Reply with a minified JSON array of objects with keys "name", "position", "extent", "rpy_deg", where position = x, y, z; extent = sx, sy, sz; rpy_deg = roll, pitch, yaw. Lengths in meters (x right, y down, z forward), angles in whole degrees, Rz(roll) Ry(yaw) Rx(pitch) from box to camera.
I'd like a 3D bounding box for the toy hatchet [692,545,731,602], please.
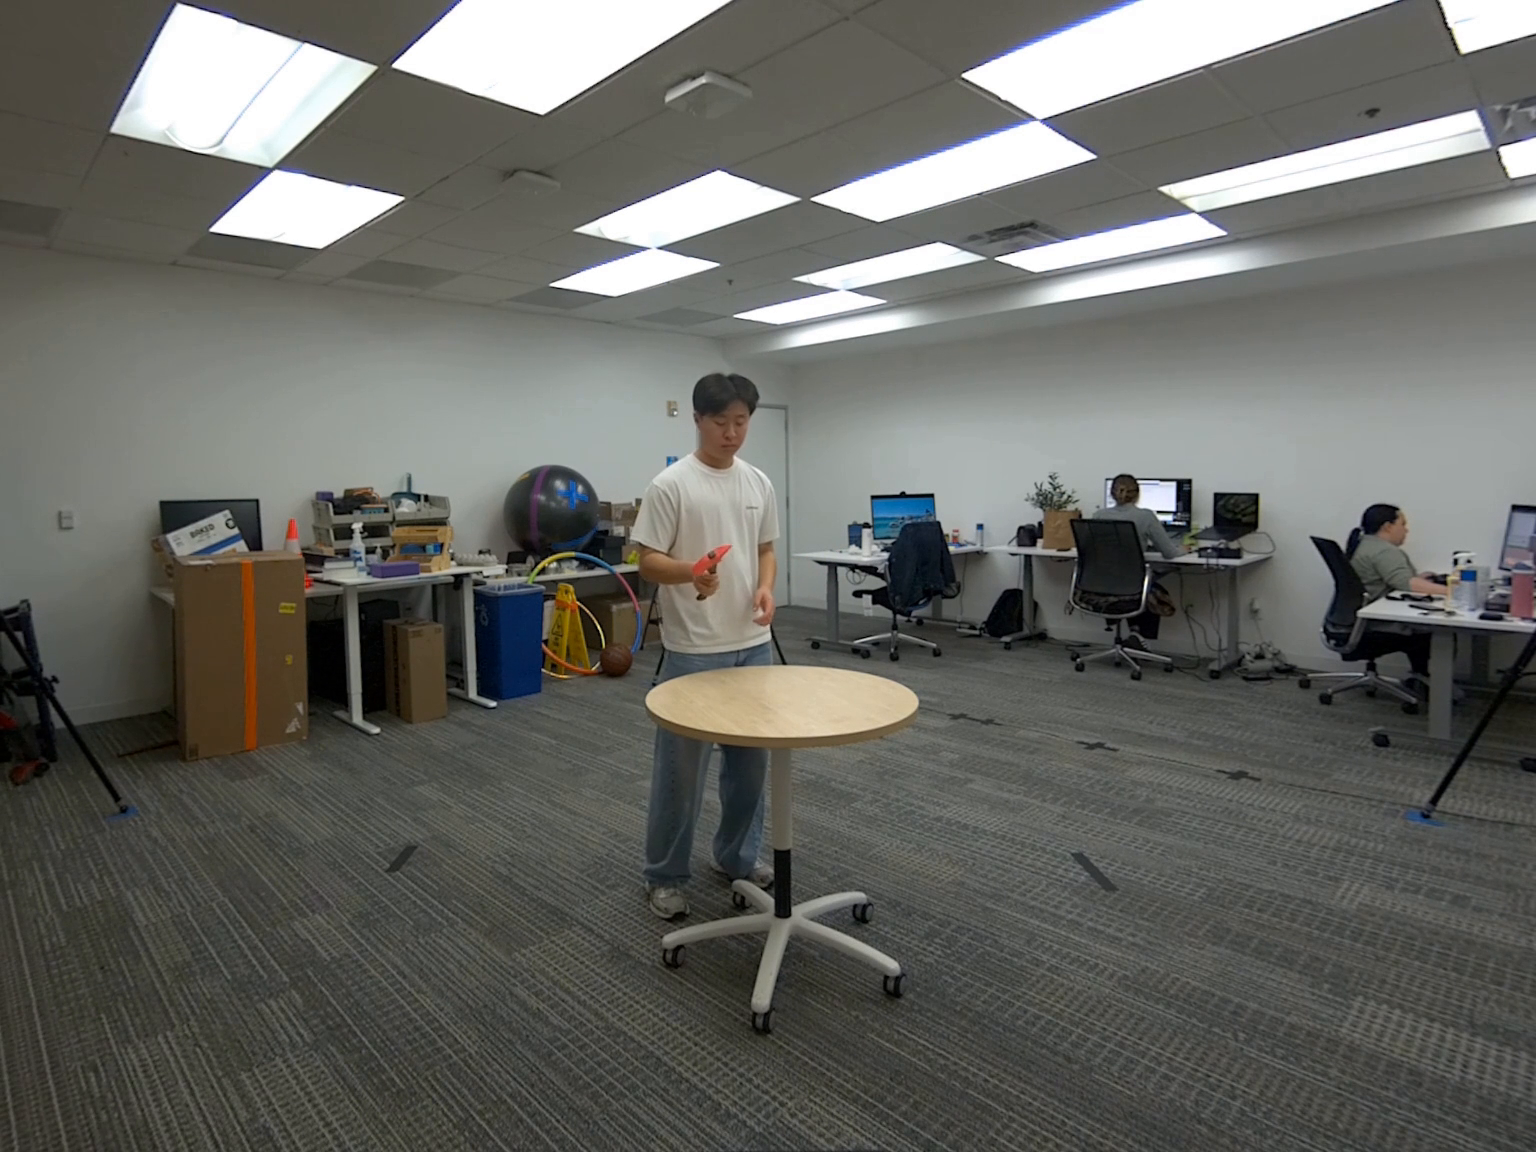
[{"name":"toy hatchet","position":[-0.179,0.007,2.480],"extent":[0.129,0.030,0.267],"rpy_deg":[-24,-23,-32]}]
